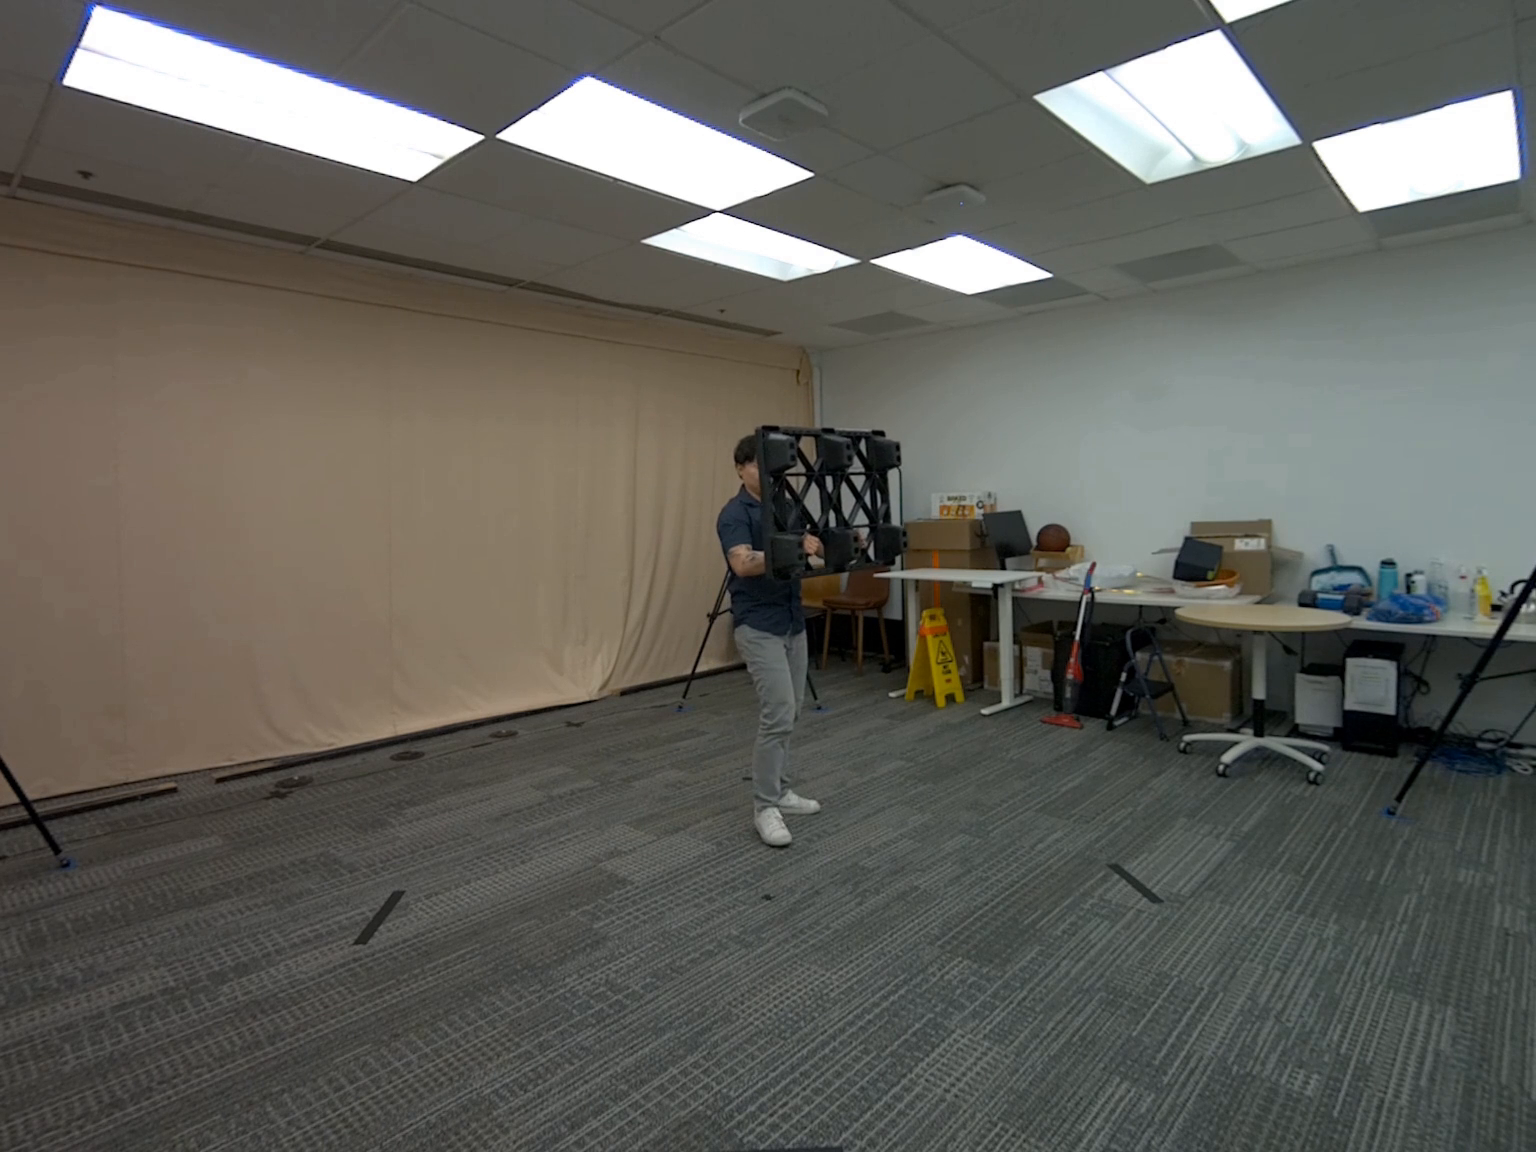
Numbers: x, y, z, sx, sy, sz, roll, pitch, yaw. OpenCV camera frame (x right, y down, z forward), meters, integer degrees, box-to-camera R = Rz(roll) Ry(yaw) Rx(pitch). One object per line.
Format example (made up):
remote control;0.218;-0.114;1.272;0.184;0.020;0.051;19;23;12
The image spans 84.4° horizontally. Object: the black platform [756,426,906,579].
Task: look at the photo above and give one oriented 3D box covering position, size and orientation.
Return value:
black platform;0.293;-0.311;3.416;0.148;0.604;0.781;-3;3;45
